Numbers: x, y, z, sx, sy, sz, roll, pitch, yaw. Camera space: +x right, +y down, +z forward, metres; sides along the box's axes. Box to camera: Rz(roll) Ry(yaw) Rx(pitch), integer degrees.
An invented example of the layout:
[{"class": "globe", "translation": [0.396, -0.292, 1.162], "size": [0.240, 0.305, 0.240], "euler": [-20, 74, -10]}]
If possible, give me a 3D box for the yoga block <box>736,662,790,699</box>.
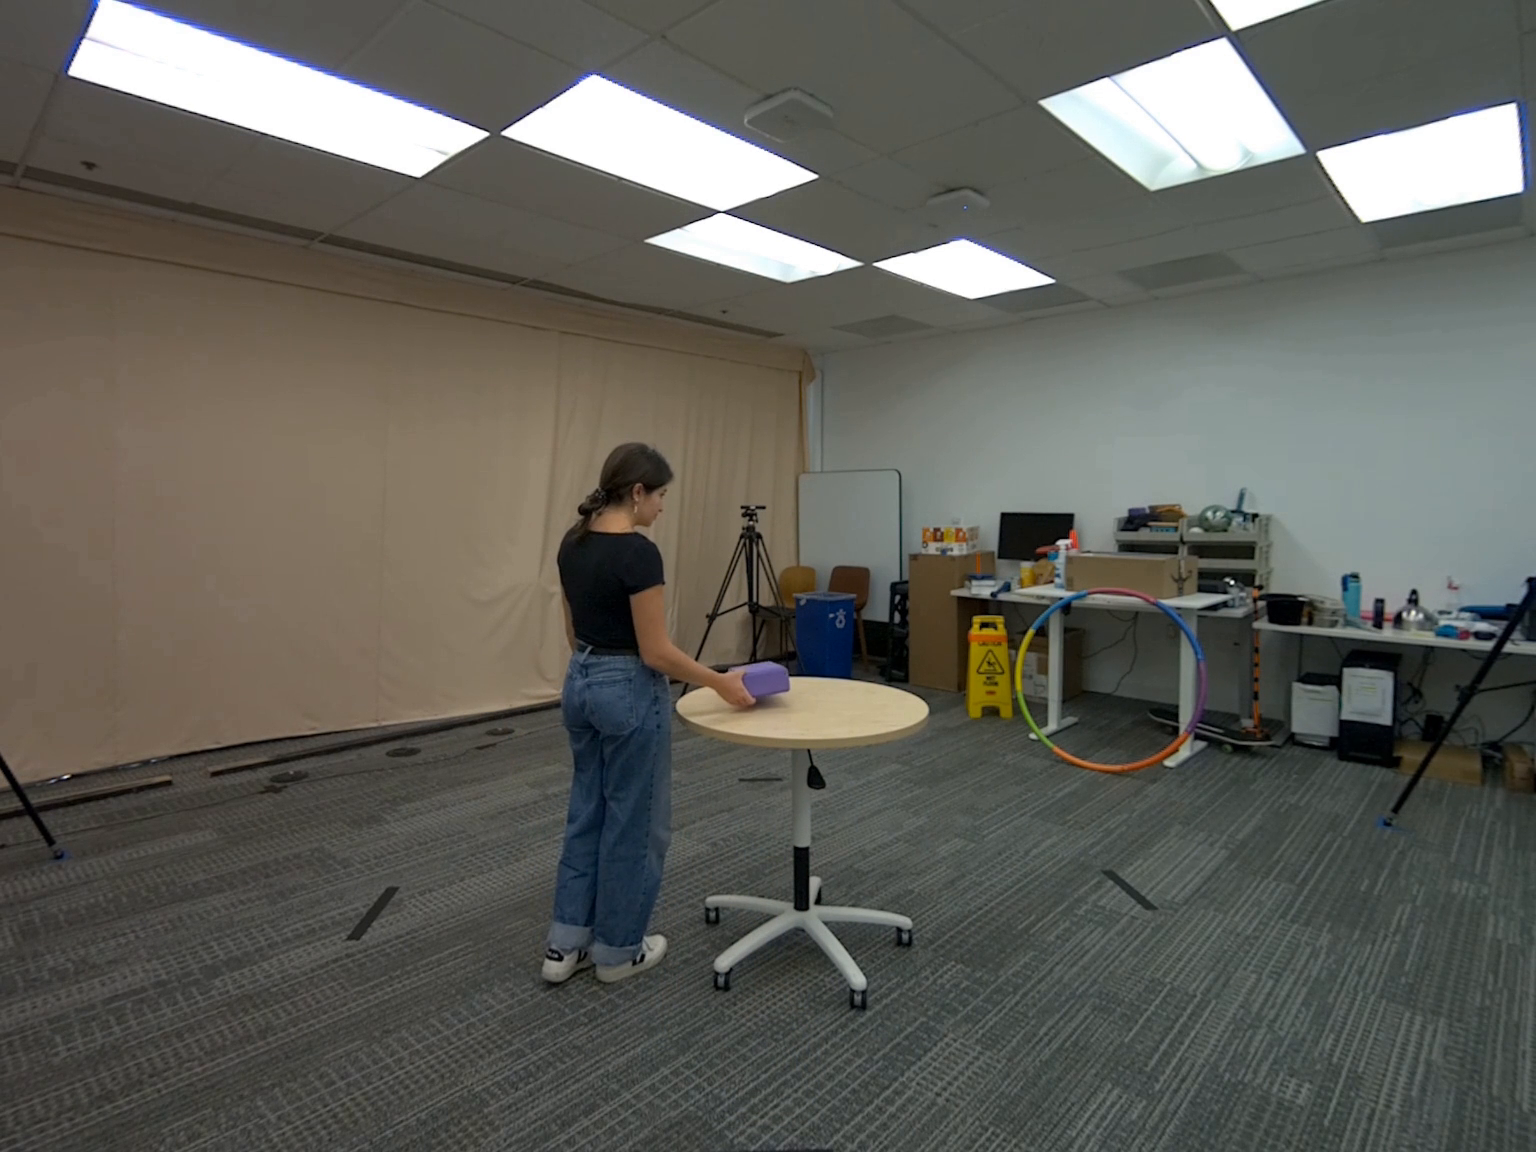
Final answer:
[{"class": "yoga block", "translation": [-0.023, 0.320, 2.605], "size": [0.147, 0.076, 0.232], "euler": [-8, 1, -14]}]
